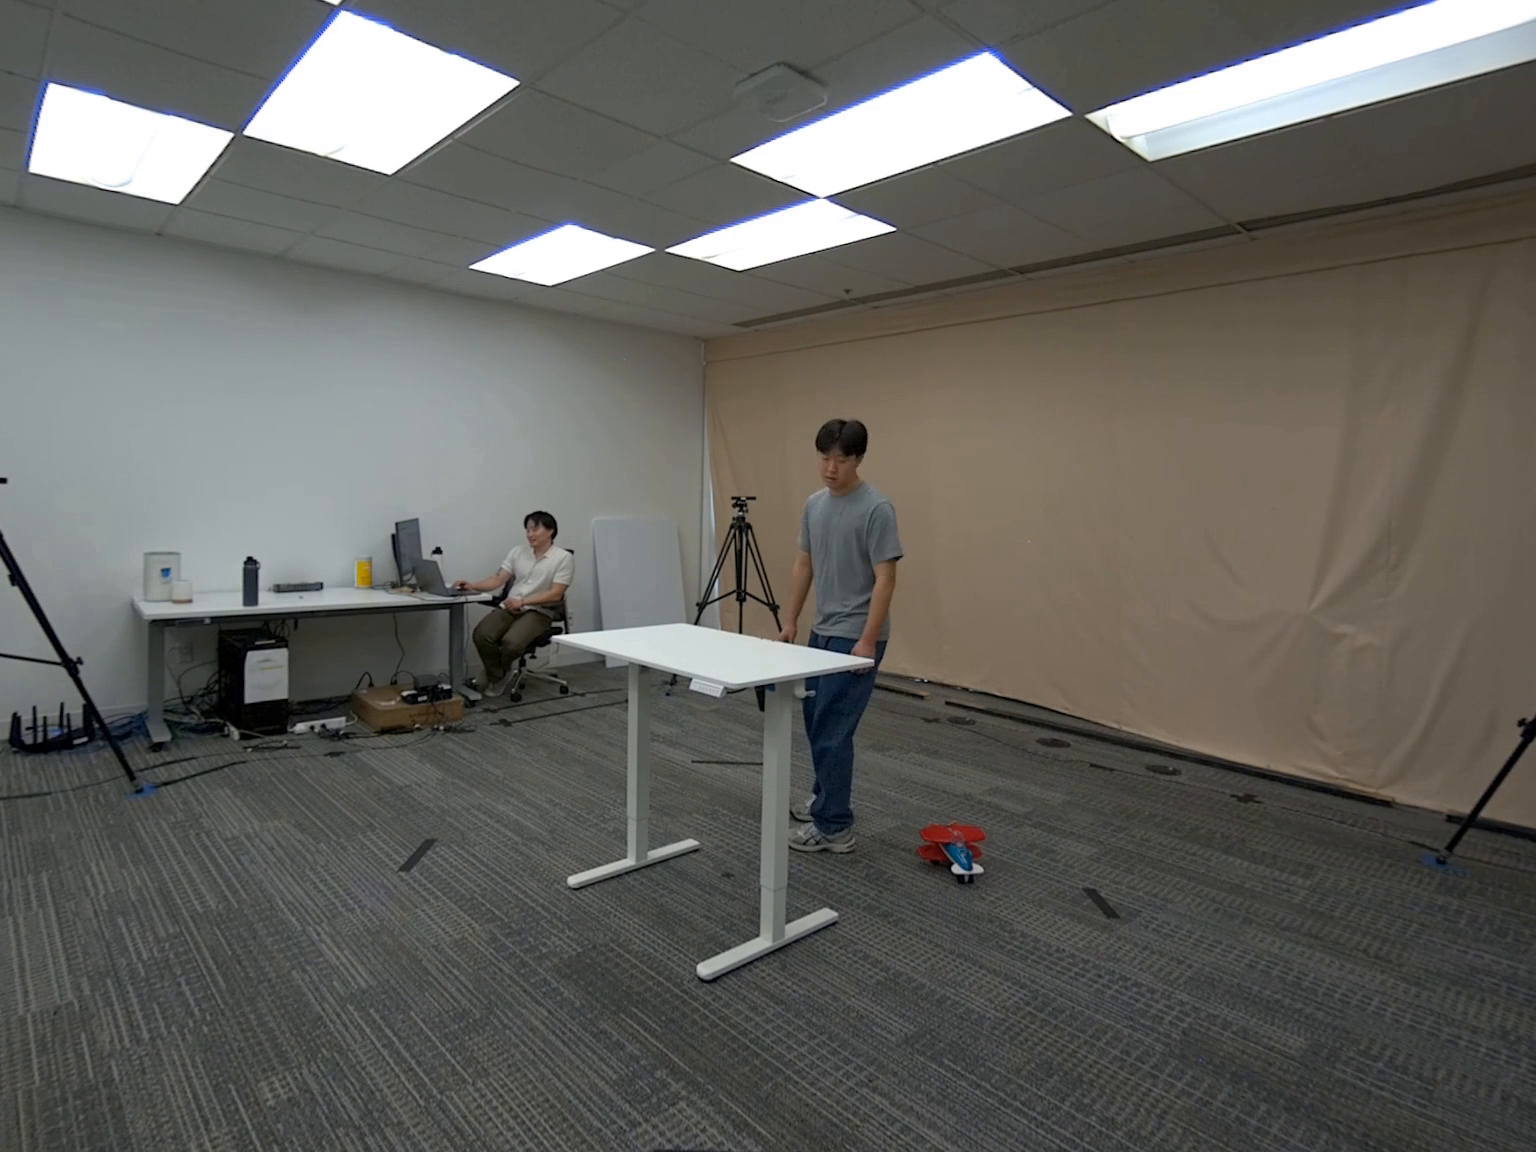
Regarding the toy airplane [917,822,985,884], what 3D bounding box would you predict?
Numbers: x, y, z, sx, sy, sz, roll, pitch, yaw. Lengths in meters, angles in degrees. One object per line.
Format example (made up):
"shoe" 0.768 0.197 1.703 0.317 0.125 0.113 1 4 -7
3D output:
"toy airplane" 0.722 1.048 3.187 0.245 0.156 0.266 -2 4 -40
